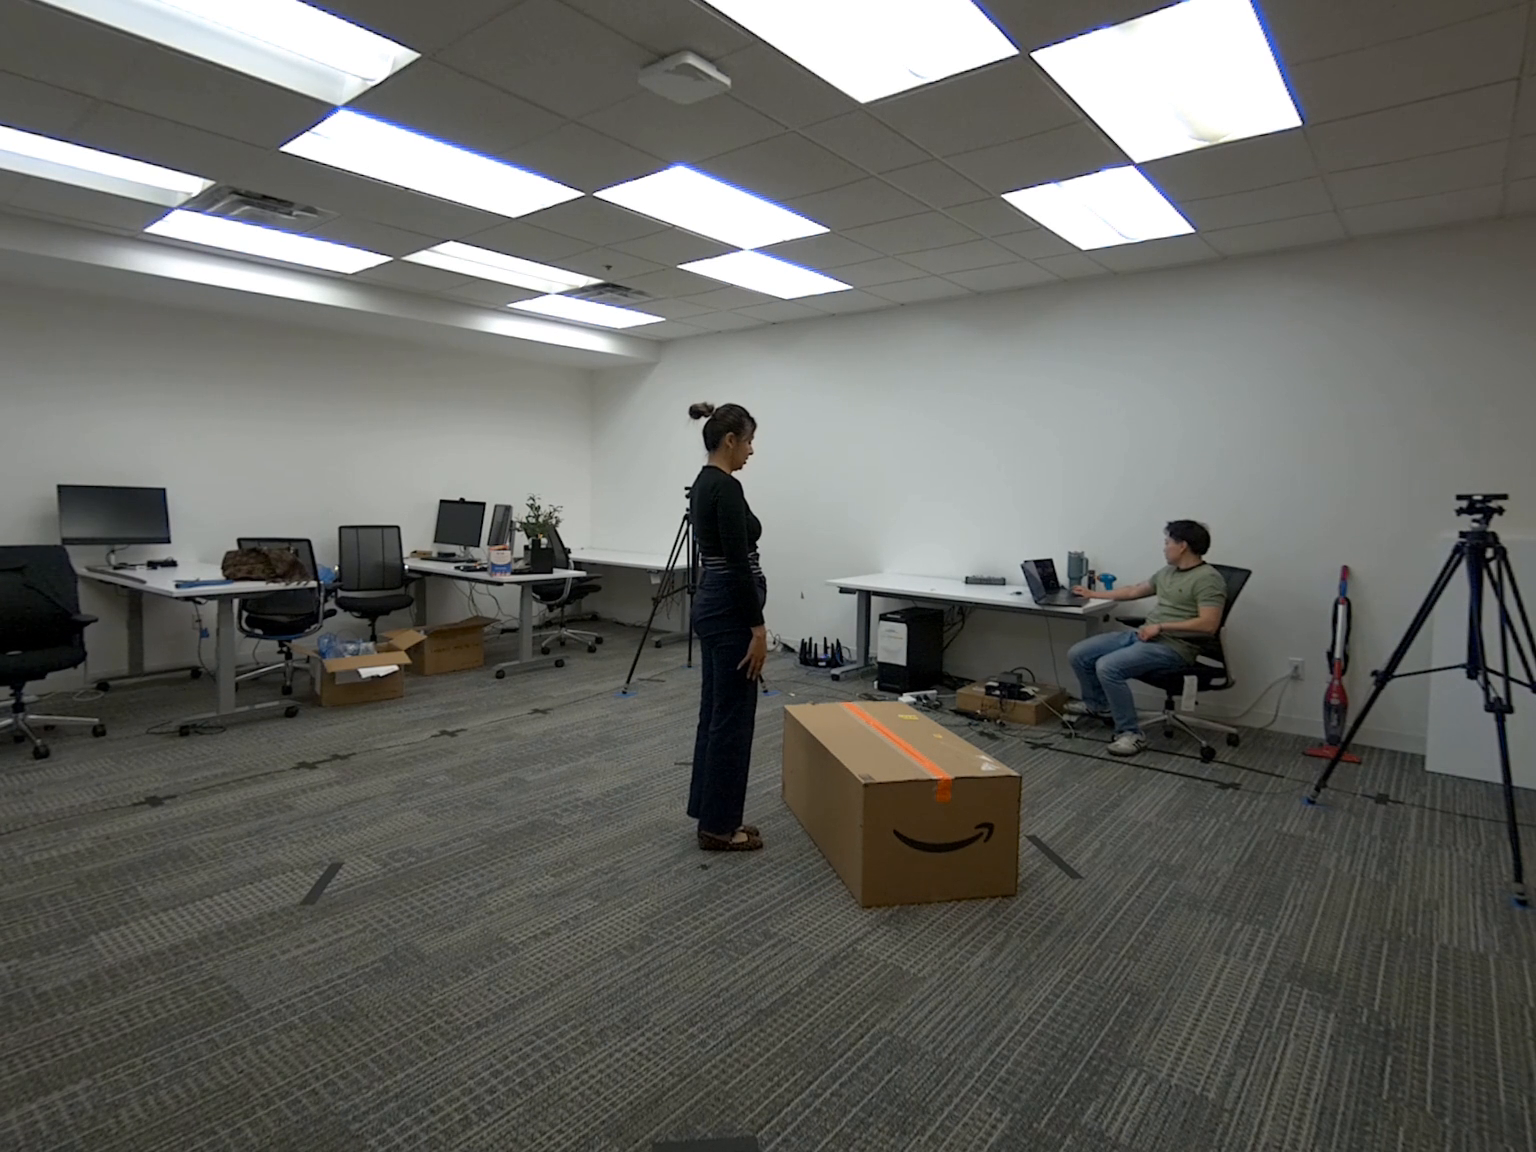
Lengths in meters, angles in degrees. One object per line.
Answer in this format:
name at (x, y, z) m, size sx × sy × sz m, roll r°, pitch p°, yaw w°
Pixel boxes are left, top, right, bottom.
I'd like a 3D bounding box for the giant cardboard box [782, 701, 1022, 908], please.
giant cardboard box at (0.458, 0.830, 3.373) m, size 0.570 × 0.424 × 1.044 m, roll -1°, pitch 6°, yaw -13°
